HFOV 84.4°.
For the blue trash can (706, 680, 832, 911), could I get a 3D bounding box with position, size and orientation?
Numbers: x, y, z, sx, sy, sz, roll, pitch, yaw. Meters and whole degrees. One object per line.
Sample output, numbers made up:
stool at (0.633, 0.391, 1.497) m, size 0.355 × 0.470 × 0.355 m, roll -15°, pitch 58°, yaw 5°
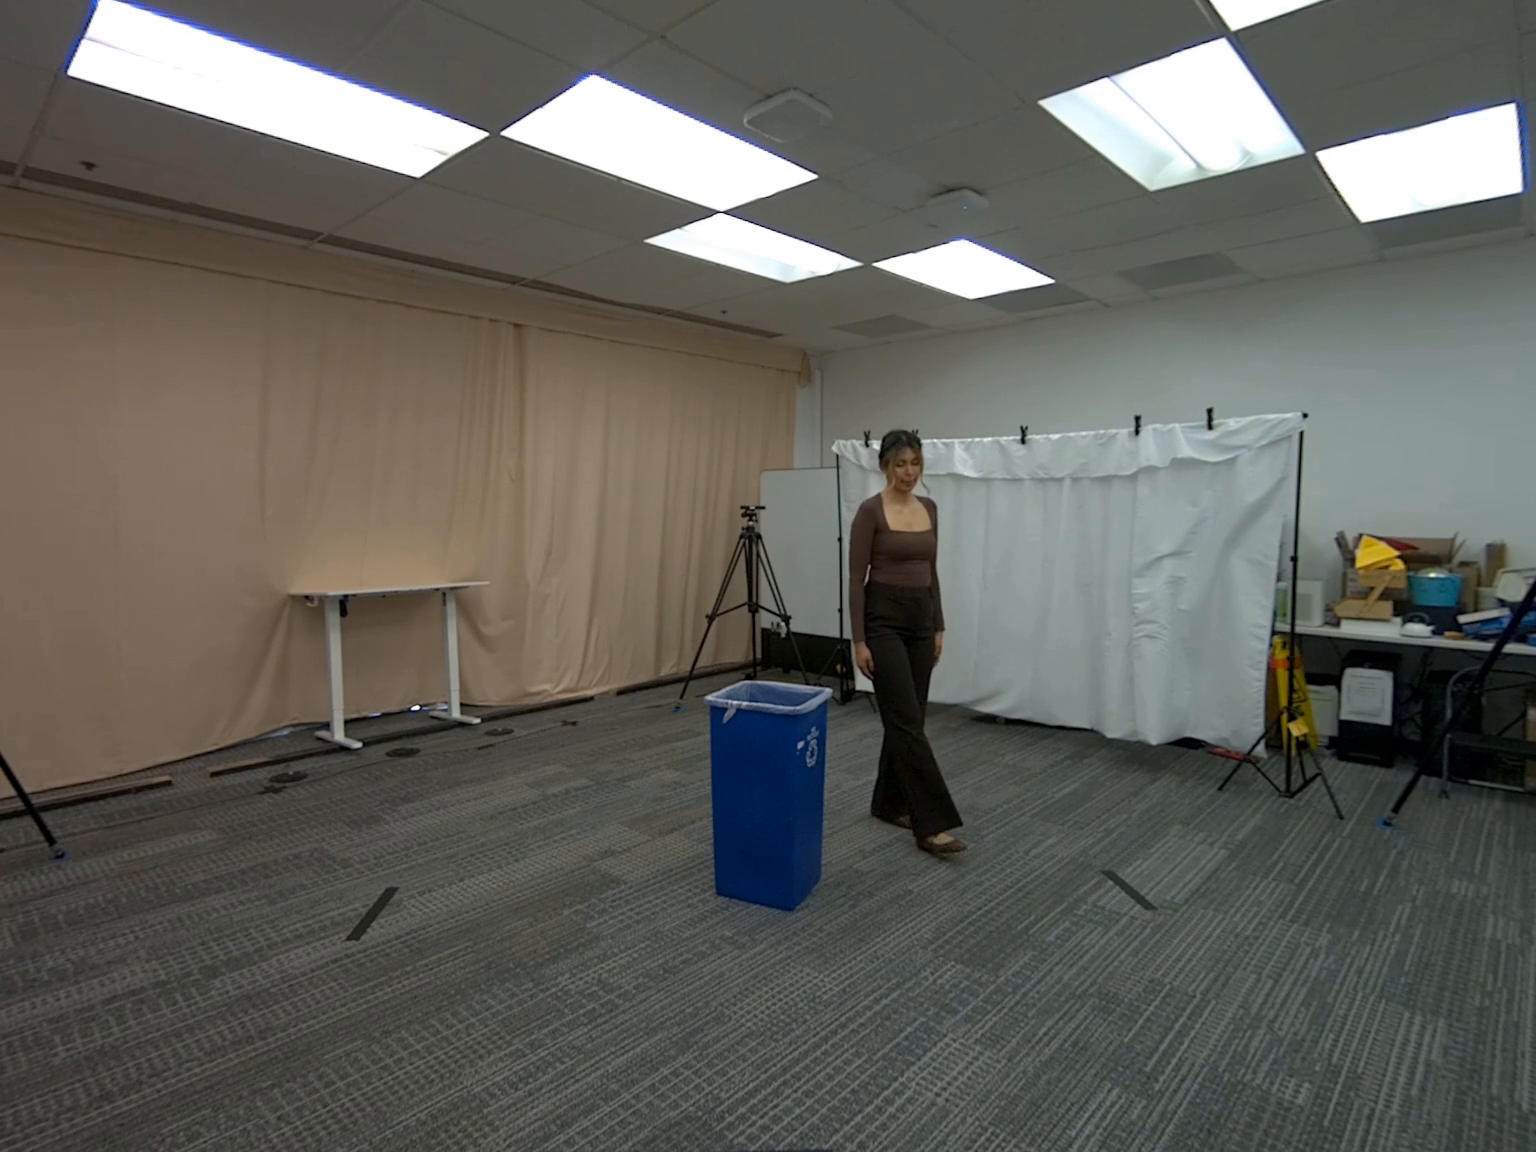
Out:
blue trash can at (0.003, 0.778, 3.062) m, size 0.384 × 0.712 × 0.369 m, roll 3°, pitch 4°, yaw 24°
